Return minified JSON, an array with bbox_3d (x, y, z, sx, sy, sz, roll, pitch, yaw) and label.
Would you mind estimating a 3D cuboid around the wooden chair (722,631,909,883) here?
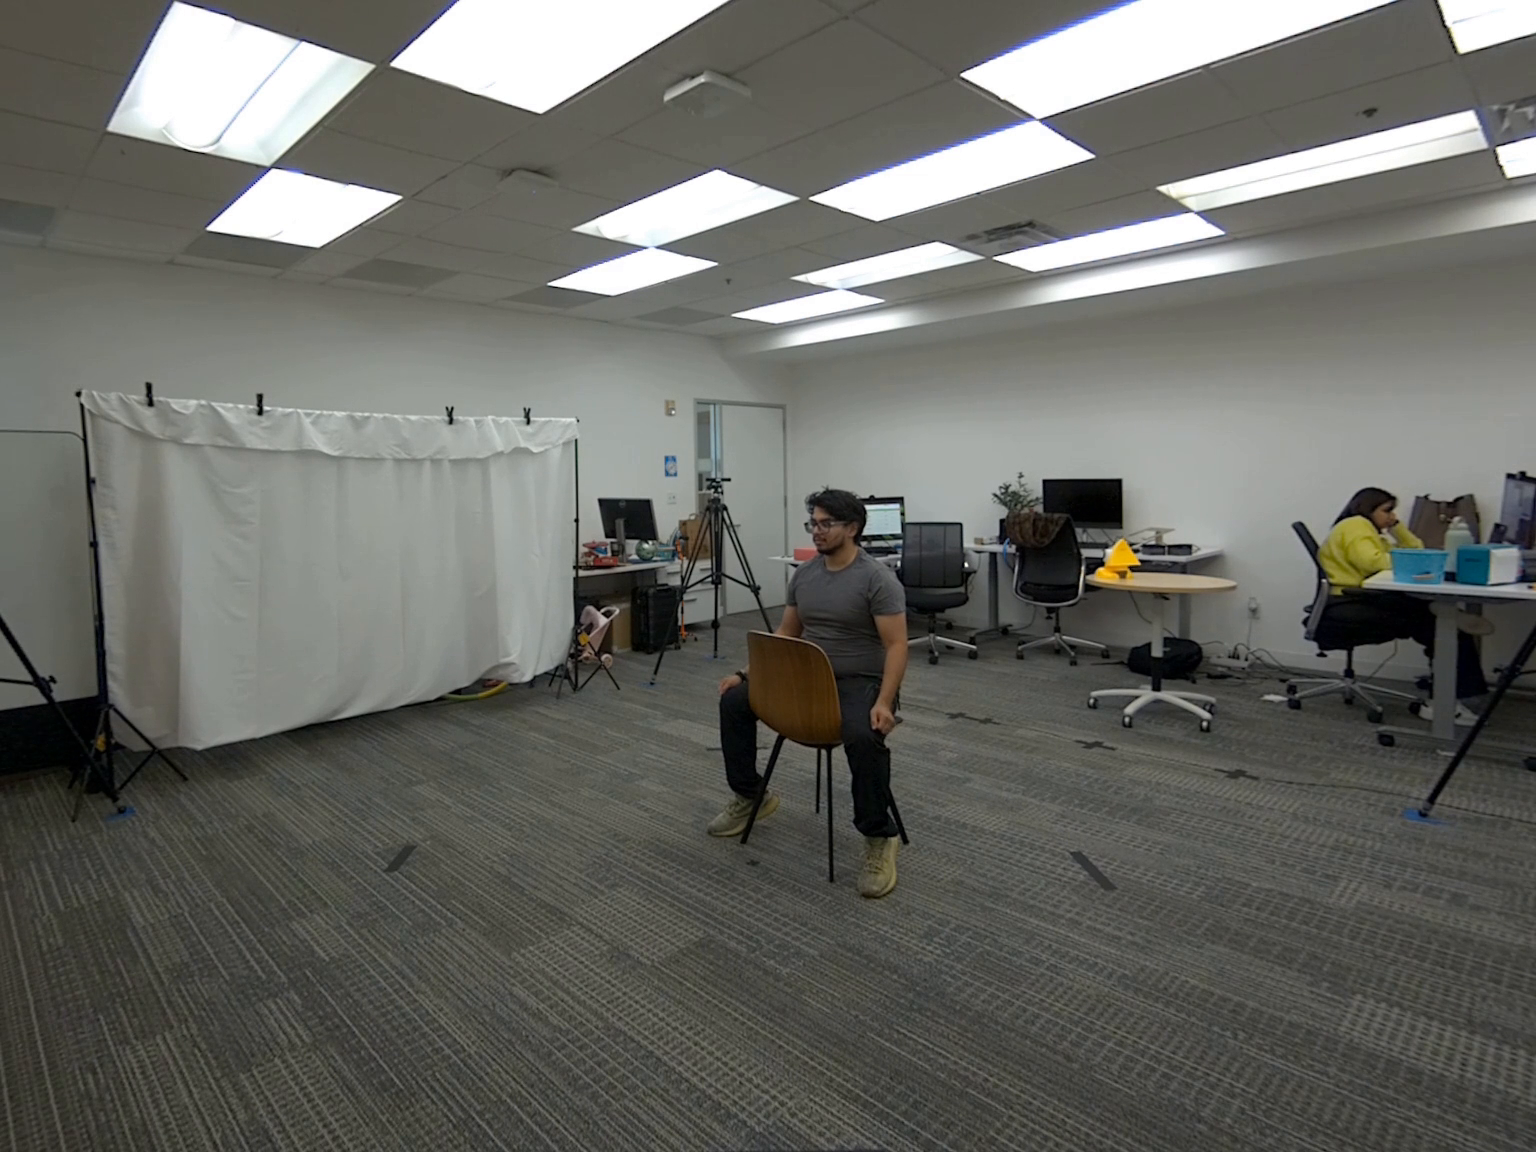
[{"bbox_3d":[0.216,0.602,3.235,0.511,0.871,0.493,-11,10,-44],"label":"wooden chair"}]
